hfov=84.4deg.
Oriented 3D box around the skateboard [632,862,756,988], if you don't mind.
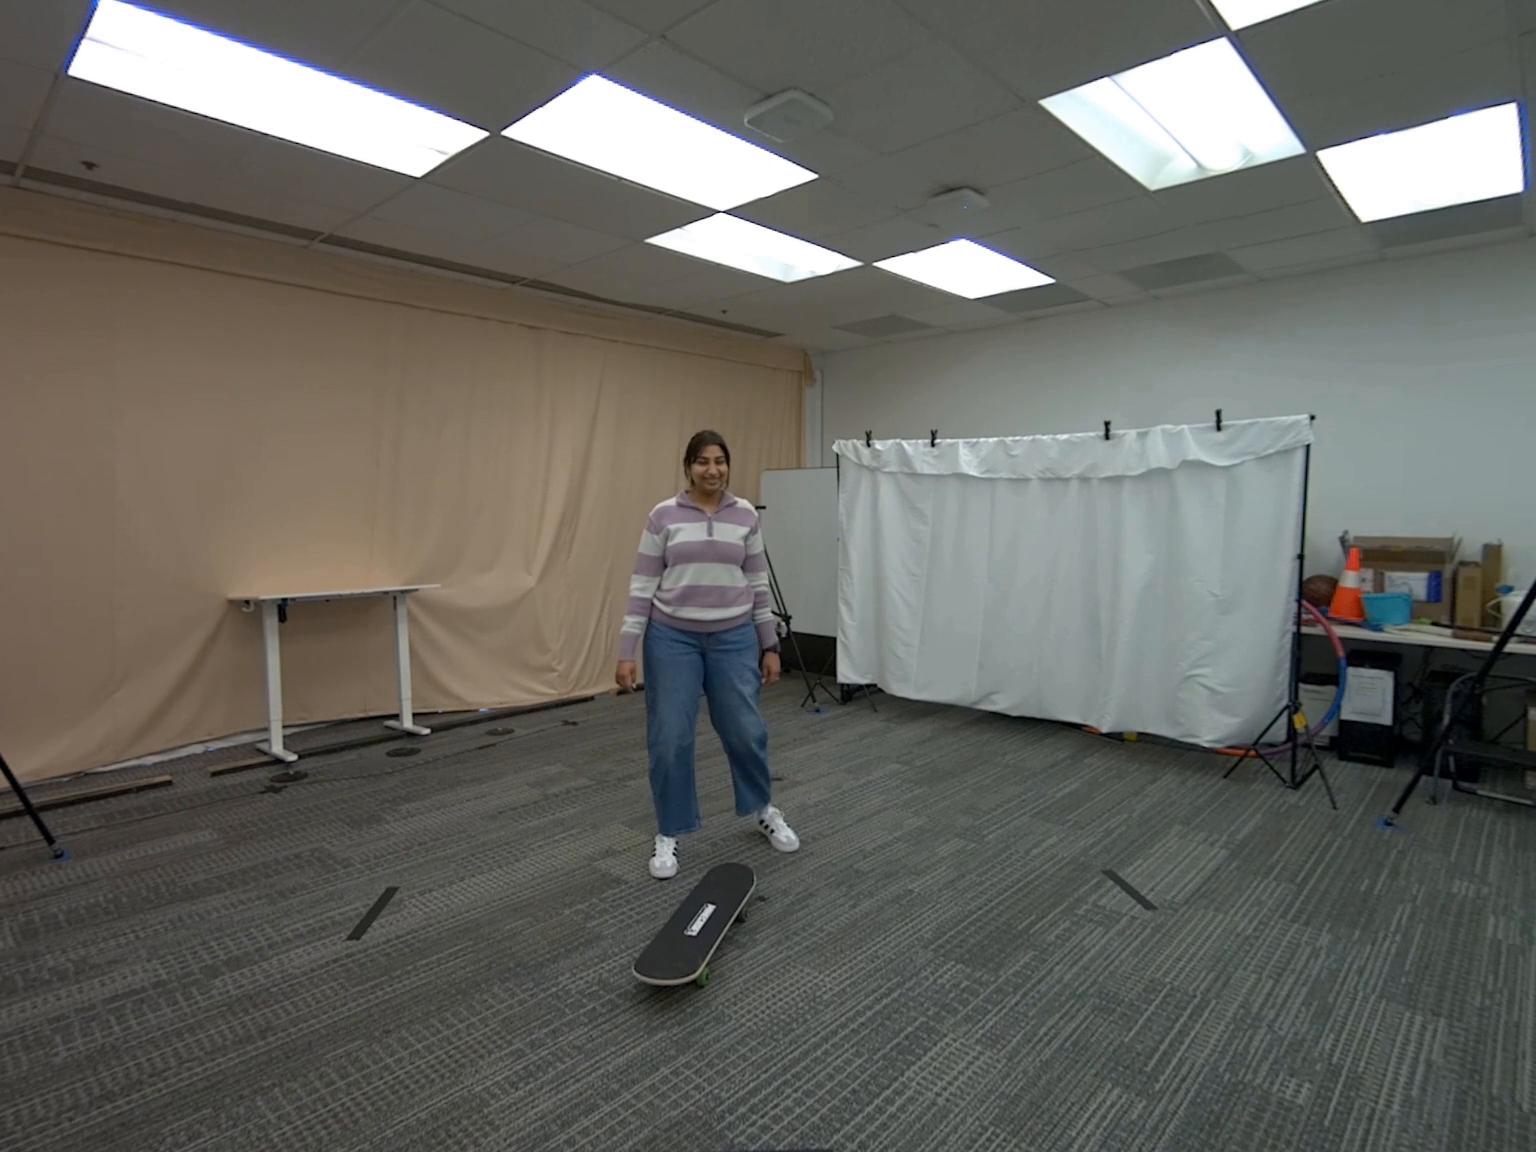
[{"bbox_3d":[-0.217,1.121,2.650,0.197,0.110,0.773,2,5,15],"label":"skateboard"}]
